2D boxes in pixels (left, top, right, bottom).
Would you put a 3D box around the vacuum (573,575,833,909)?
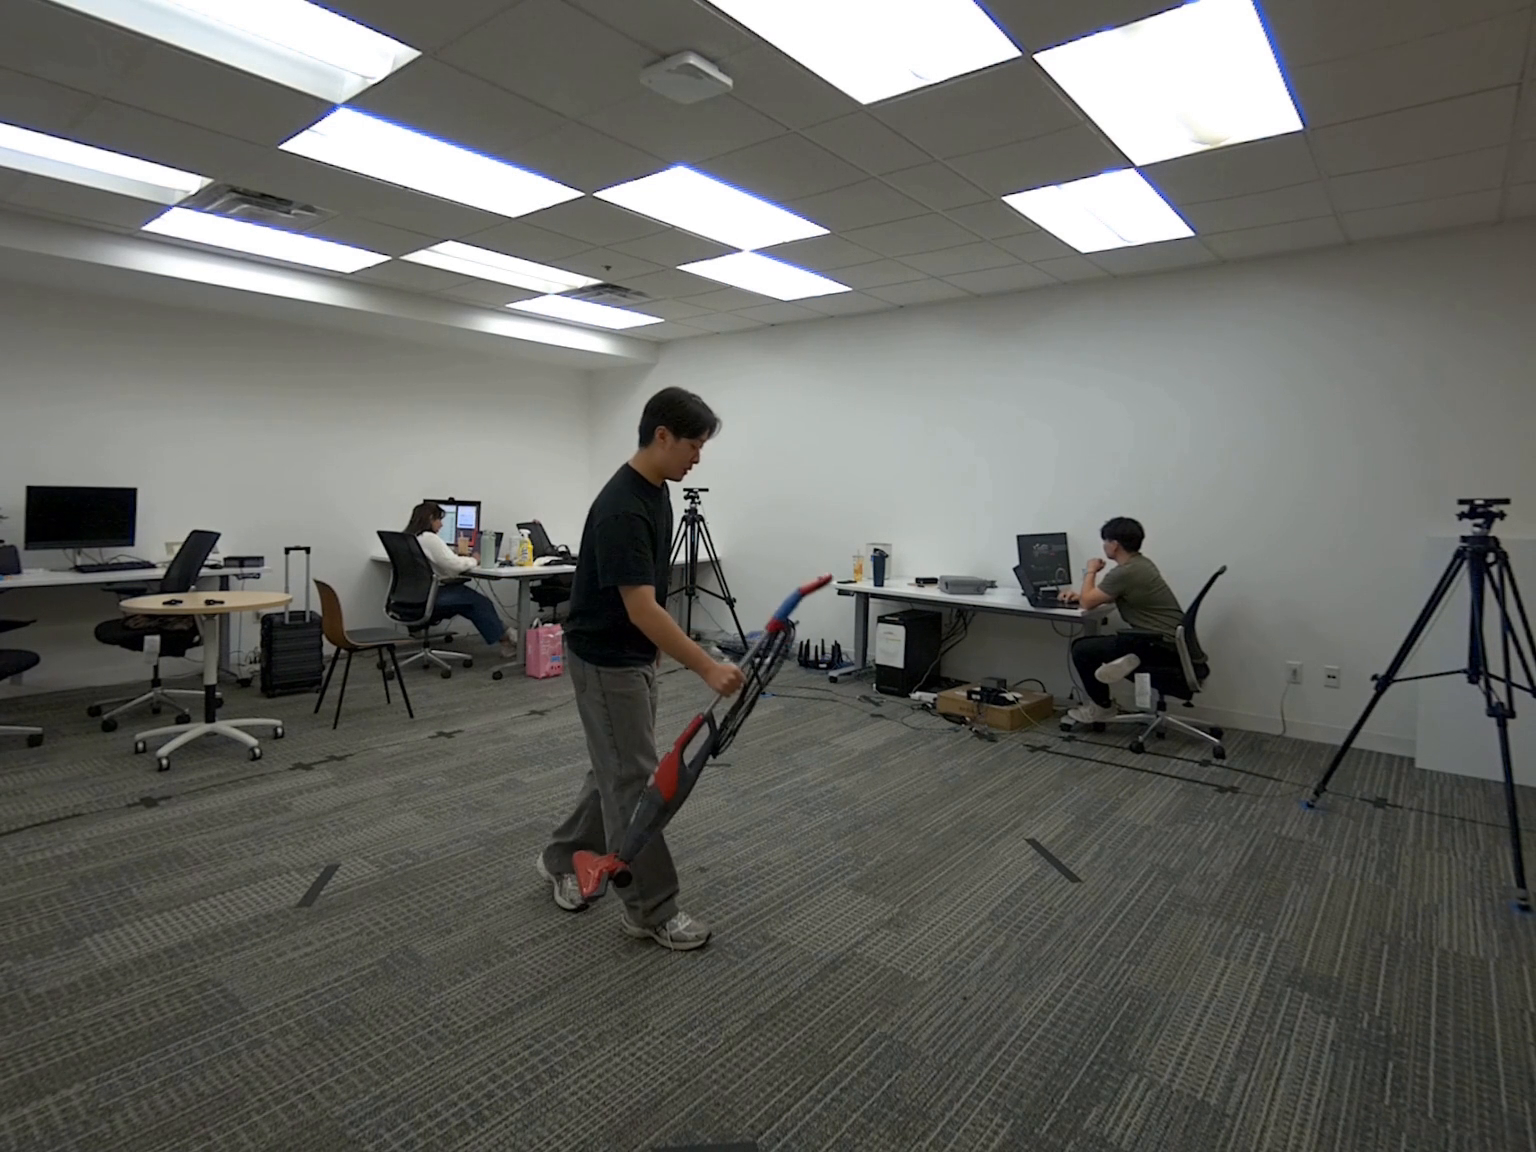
[{"bbox_3d":[-0.156,0.414,2.421,0.142,1.050,0.256,39,-7,-11],"label":"vacuum"}]
